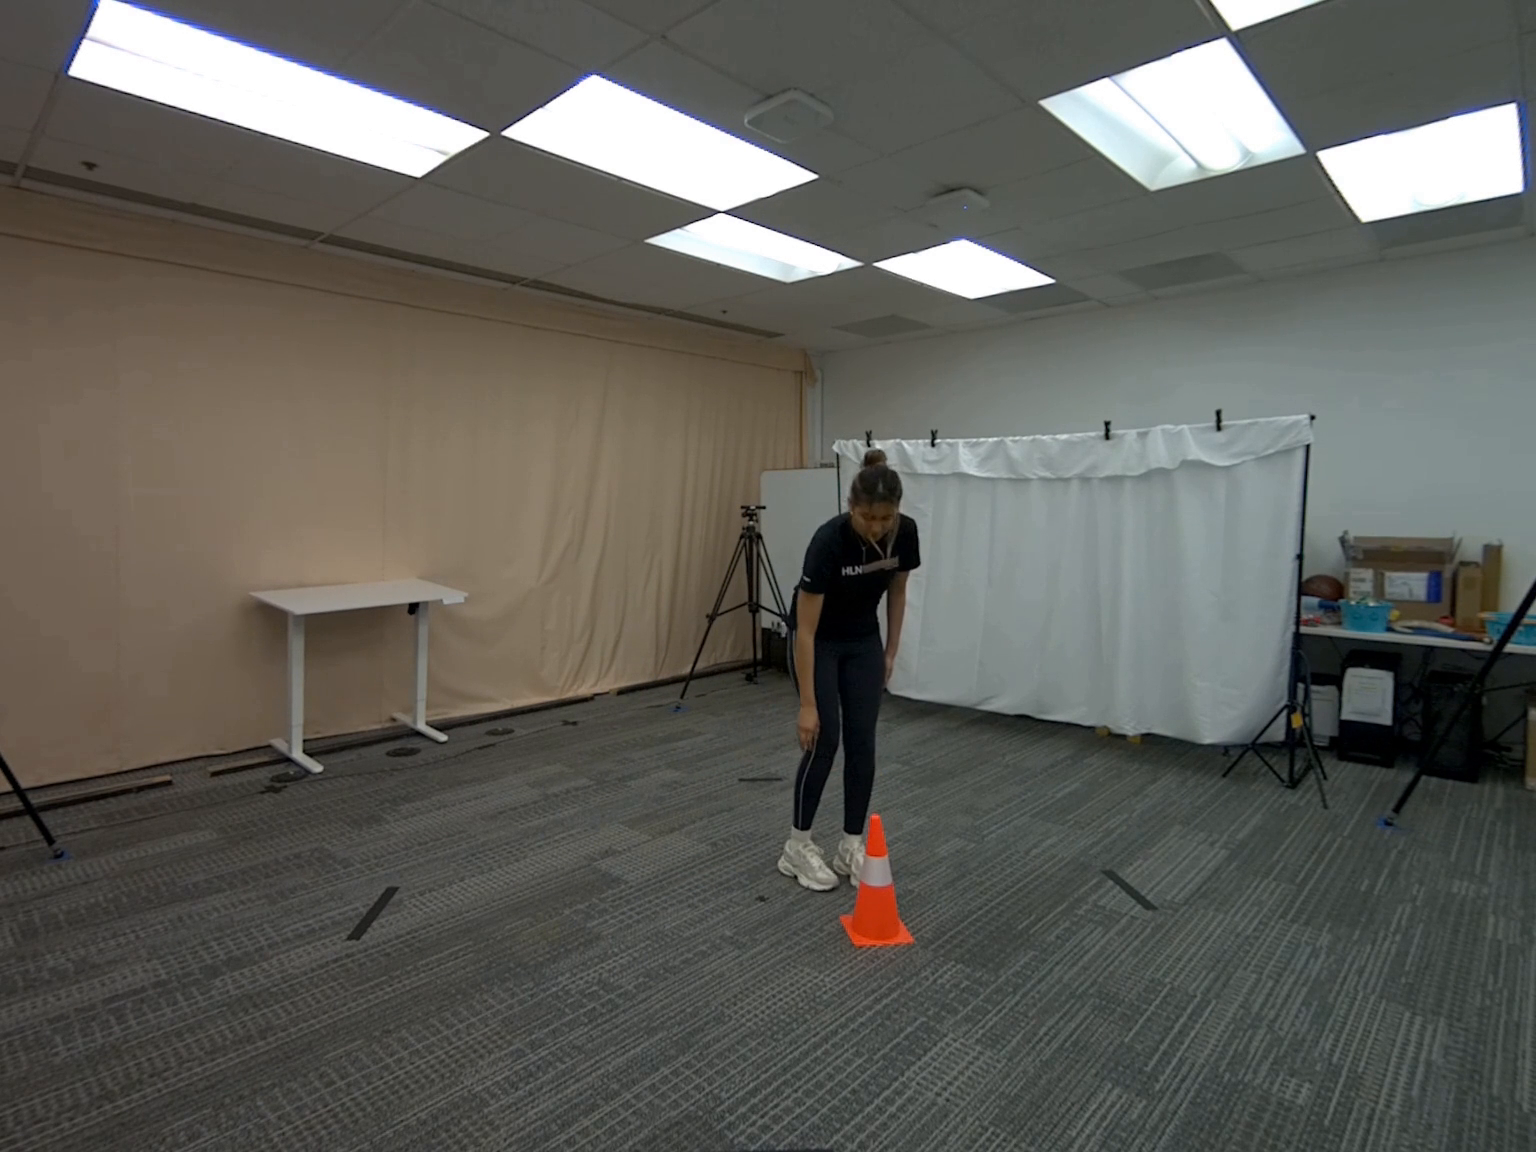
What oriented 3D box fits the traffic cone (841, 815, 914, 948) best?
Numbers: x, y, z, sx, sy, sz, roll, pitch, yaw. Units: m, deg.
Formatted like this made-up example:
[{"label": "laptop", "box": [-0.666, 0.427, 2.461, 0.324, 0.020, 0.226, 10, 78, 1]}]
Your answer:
[{"label": "traffic cone", "box": [0.350, 0.974, 2.757, 0.204, 0.383, 0.205, -1, 3, -6]}]
